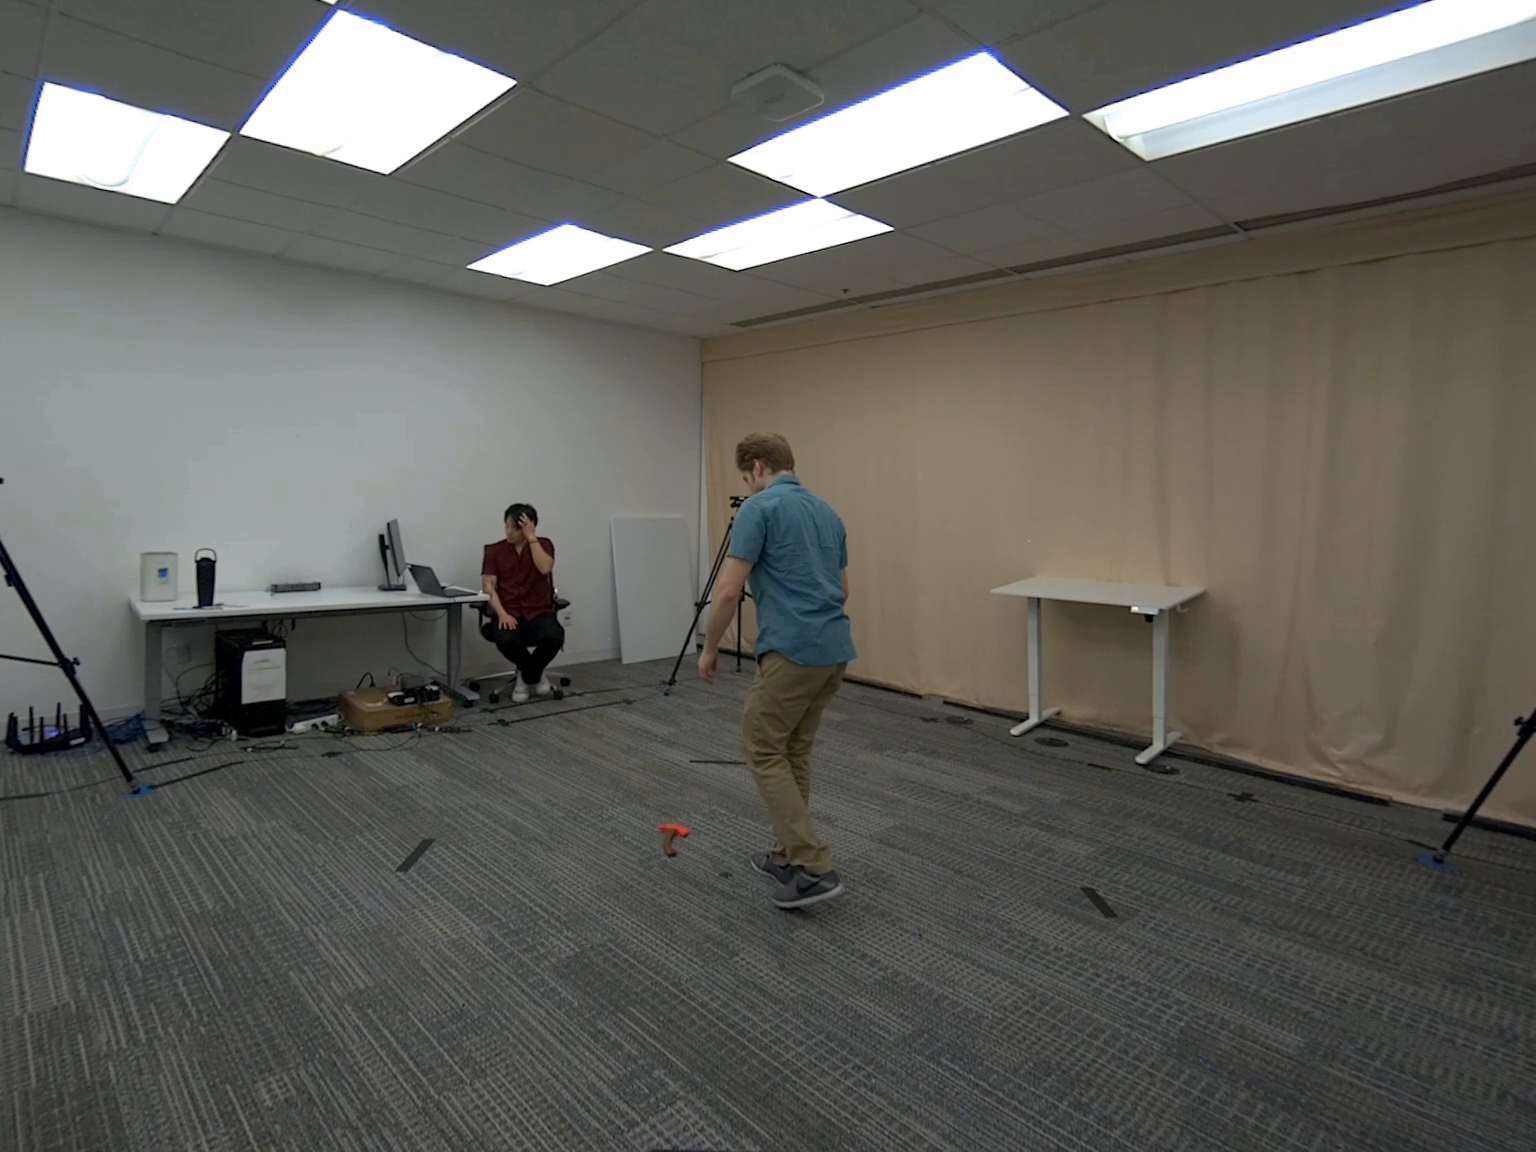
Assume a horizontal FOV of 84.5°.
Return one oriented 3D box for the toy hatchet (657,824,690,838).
[{"bbox_3d":[-0.370,1.066,3.386,0.129,0.029,0.274,2,7,-17],"label":"toy hatchet"}]
